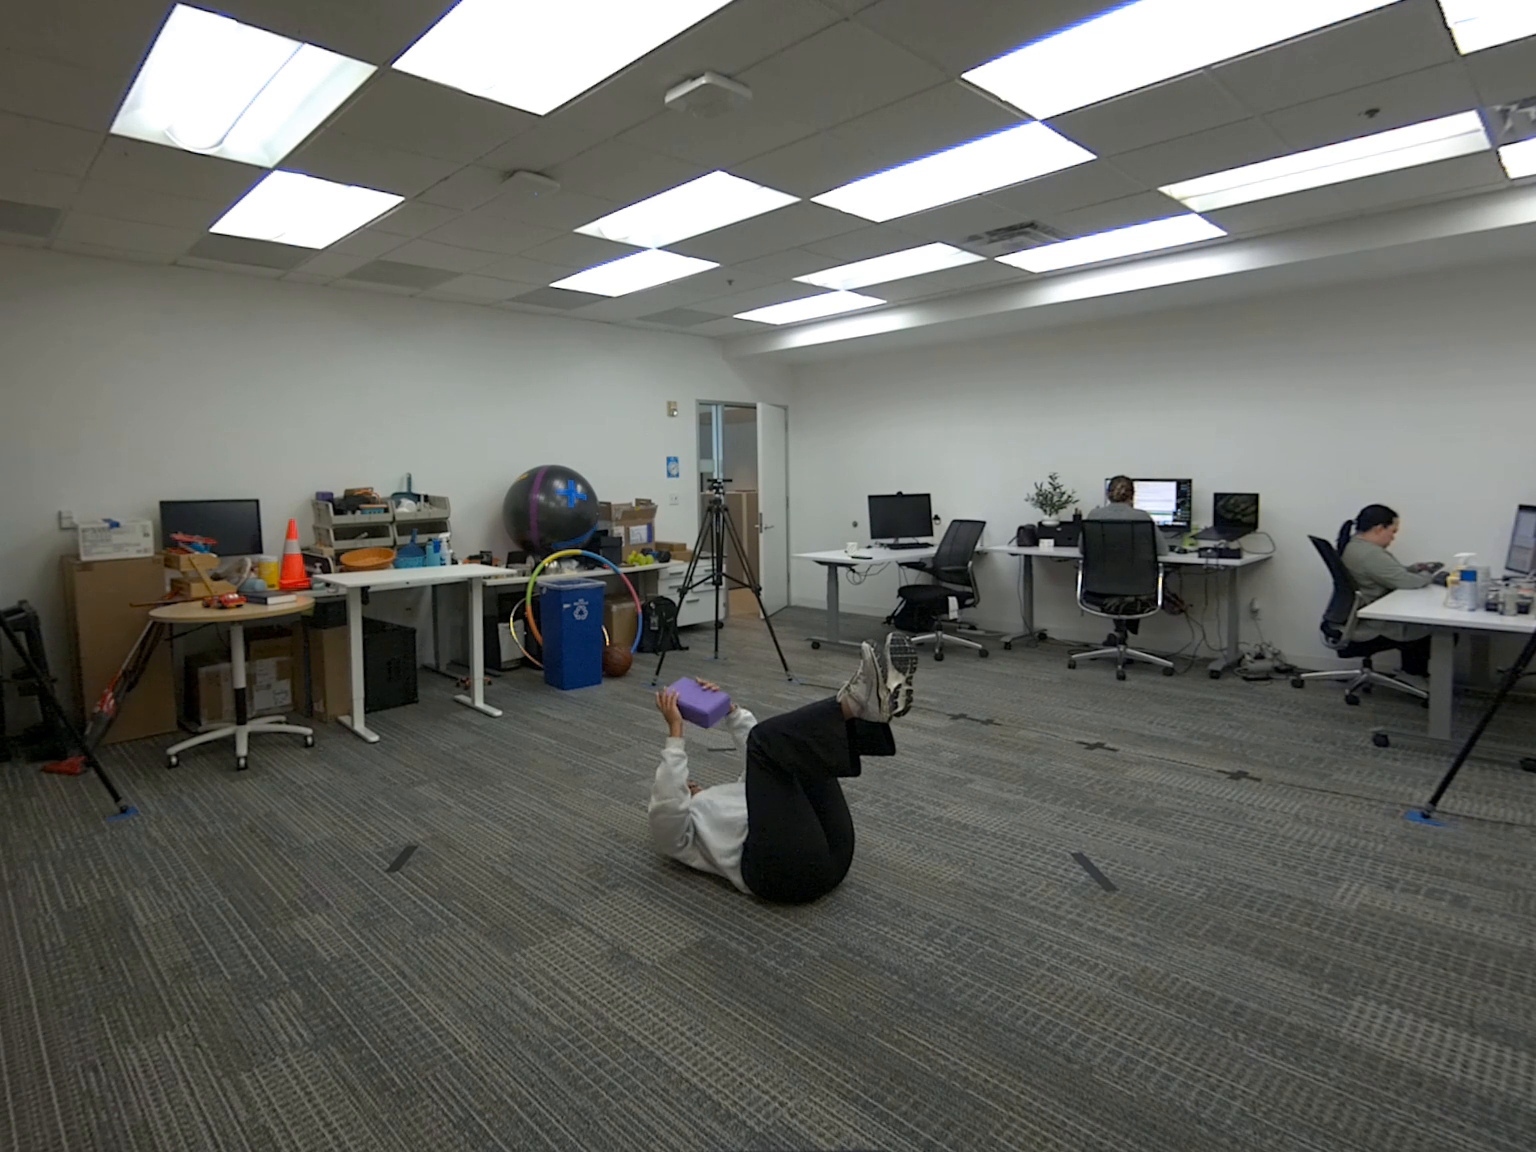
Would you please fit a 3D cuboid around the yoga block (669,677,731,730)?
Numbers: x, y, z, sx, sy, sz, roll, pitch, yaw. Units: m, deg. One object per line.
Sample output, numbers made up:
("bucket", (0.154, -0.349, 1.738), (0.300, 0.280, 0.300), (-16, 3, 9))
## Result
("yoga block", (-0.264, 0.470, 3.117), (0.237, 0.075, 0.147), (16, 29, 34))
